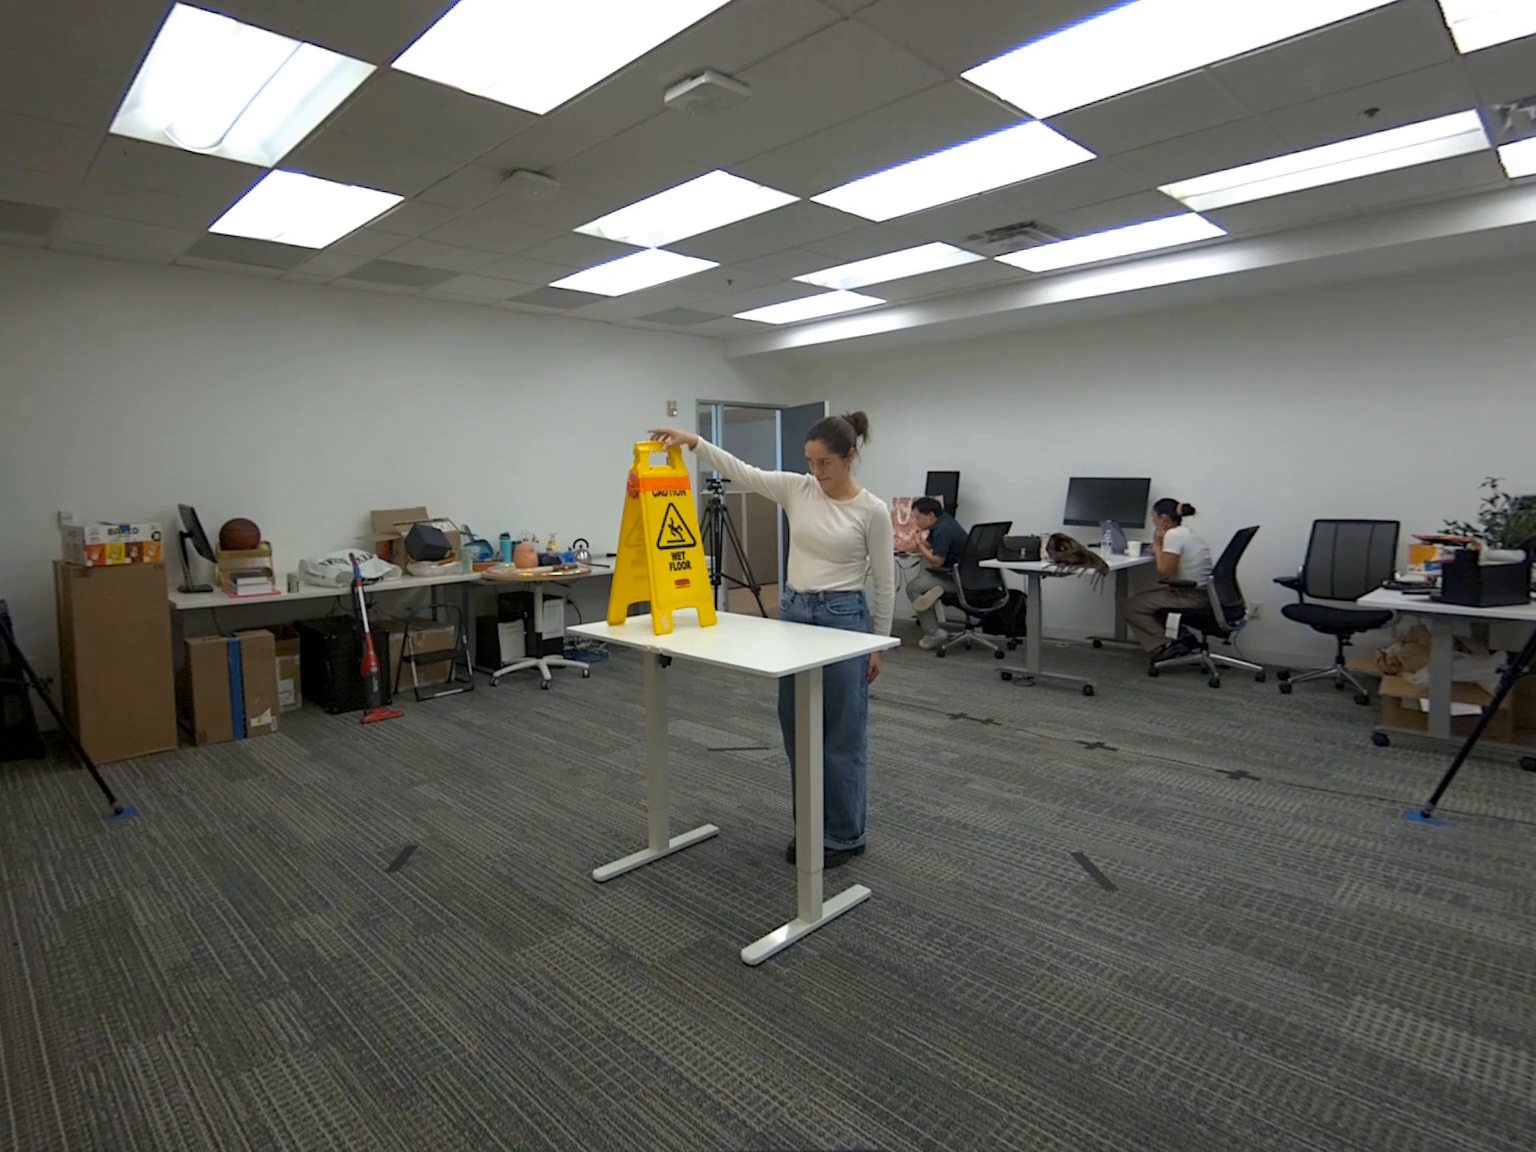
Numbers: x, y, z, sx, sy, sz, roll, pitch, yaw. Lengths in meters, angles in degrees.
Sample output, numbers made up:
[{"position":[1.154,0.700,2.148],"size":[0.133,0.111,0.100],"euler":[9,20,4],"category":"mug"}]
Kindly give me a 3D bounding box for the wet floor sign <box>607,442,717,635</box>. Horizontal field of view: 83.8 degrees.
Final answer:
[{"position":[-0.381,-0.146,3.013],"size":[0.298,0.644,0.275],"euler":[2,5,44],"category":"wet floor sign"}]
